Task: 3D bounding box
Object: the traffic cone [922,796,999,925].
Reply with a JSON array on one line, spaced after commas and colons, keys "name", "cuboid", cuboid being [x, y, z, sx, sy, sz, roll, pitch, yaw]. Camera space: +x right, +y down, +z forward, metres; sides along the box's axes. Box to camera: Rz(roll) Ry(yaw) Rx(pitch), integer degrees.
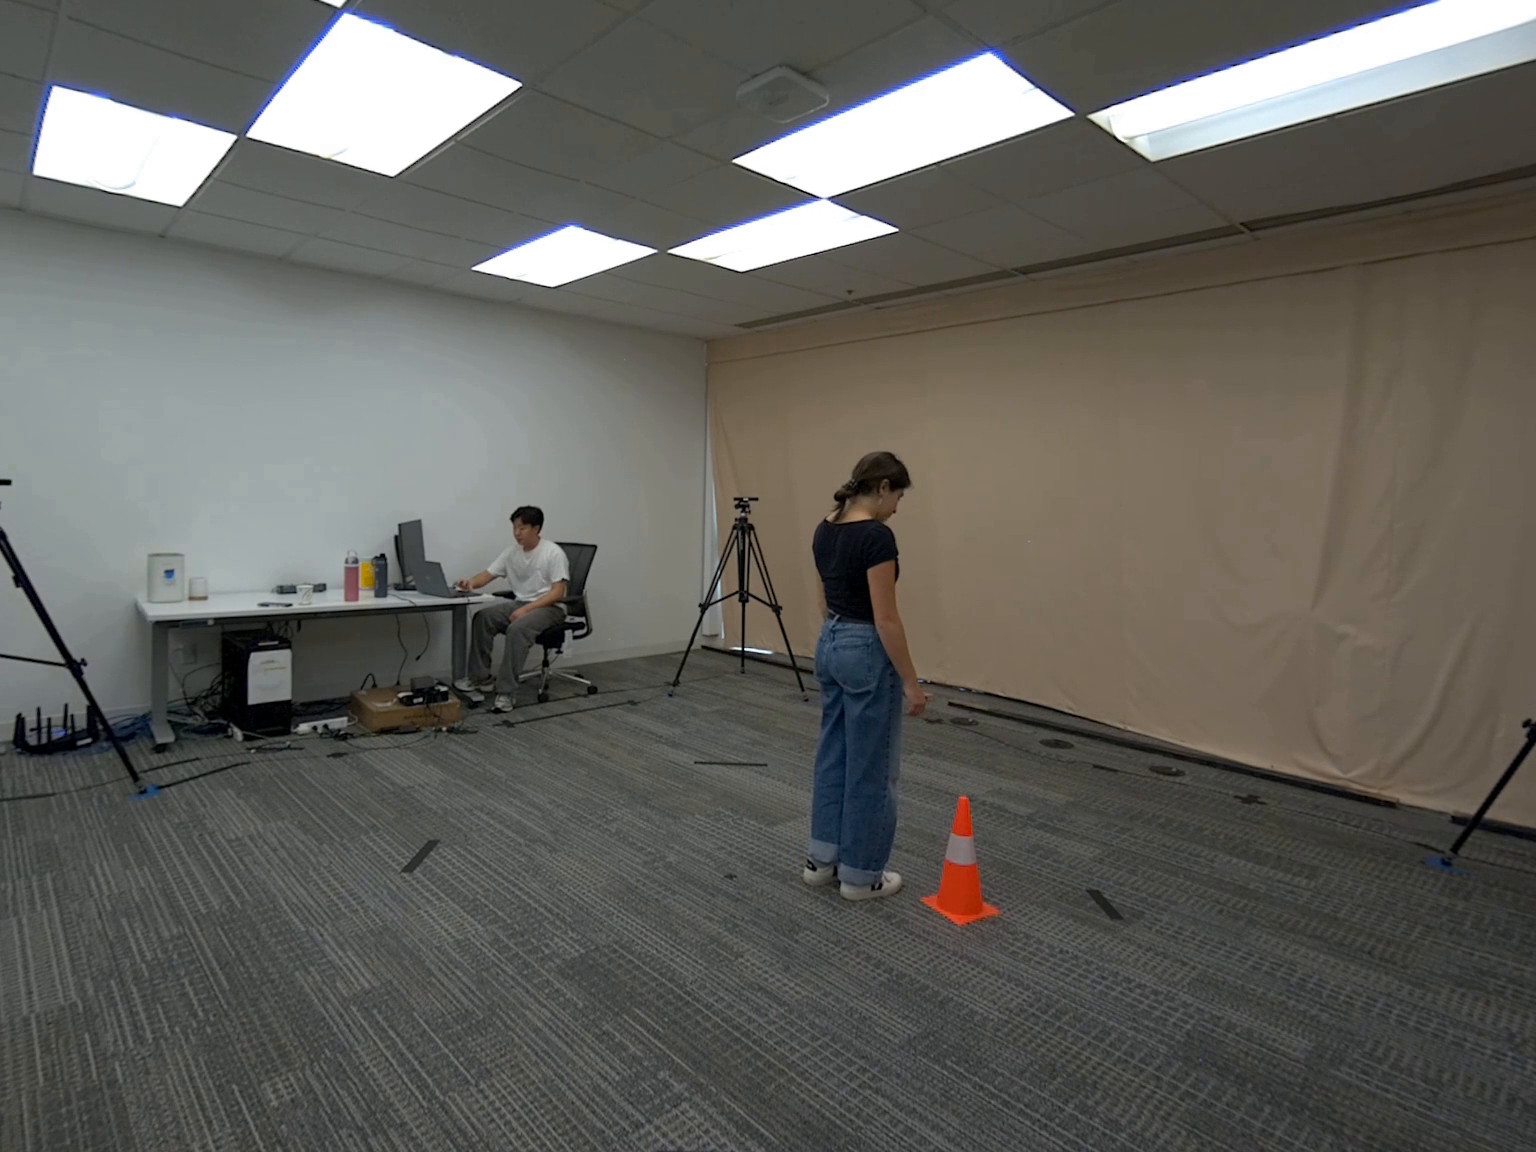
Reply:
[{"name": "traffic cone", "cuboid": [0.661, 0.959, 2.897, 0.199, 0.382, 0.209, -1, 5, -28]}]
